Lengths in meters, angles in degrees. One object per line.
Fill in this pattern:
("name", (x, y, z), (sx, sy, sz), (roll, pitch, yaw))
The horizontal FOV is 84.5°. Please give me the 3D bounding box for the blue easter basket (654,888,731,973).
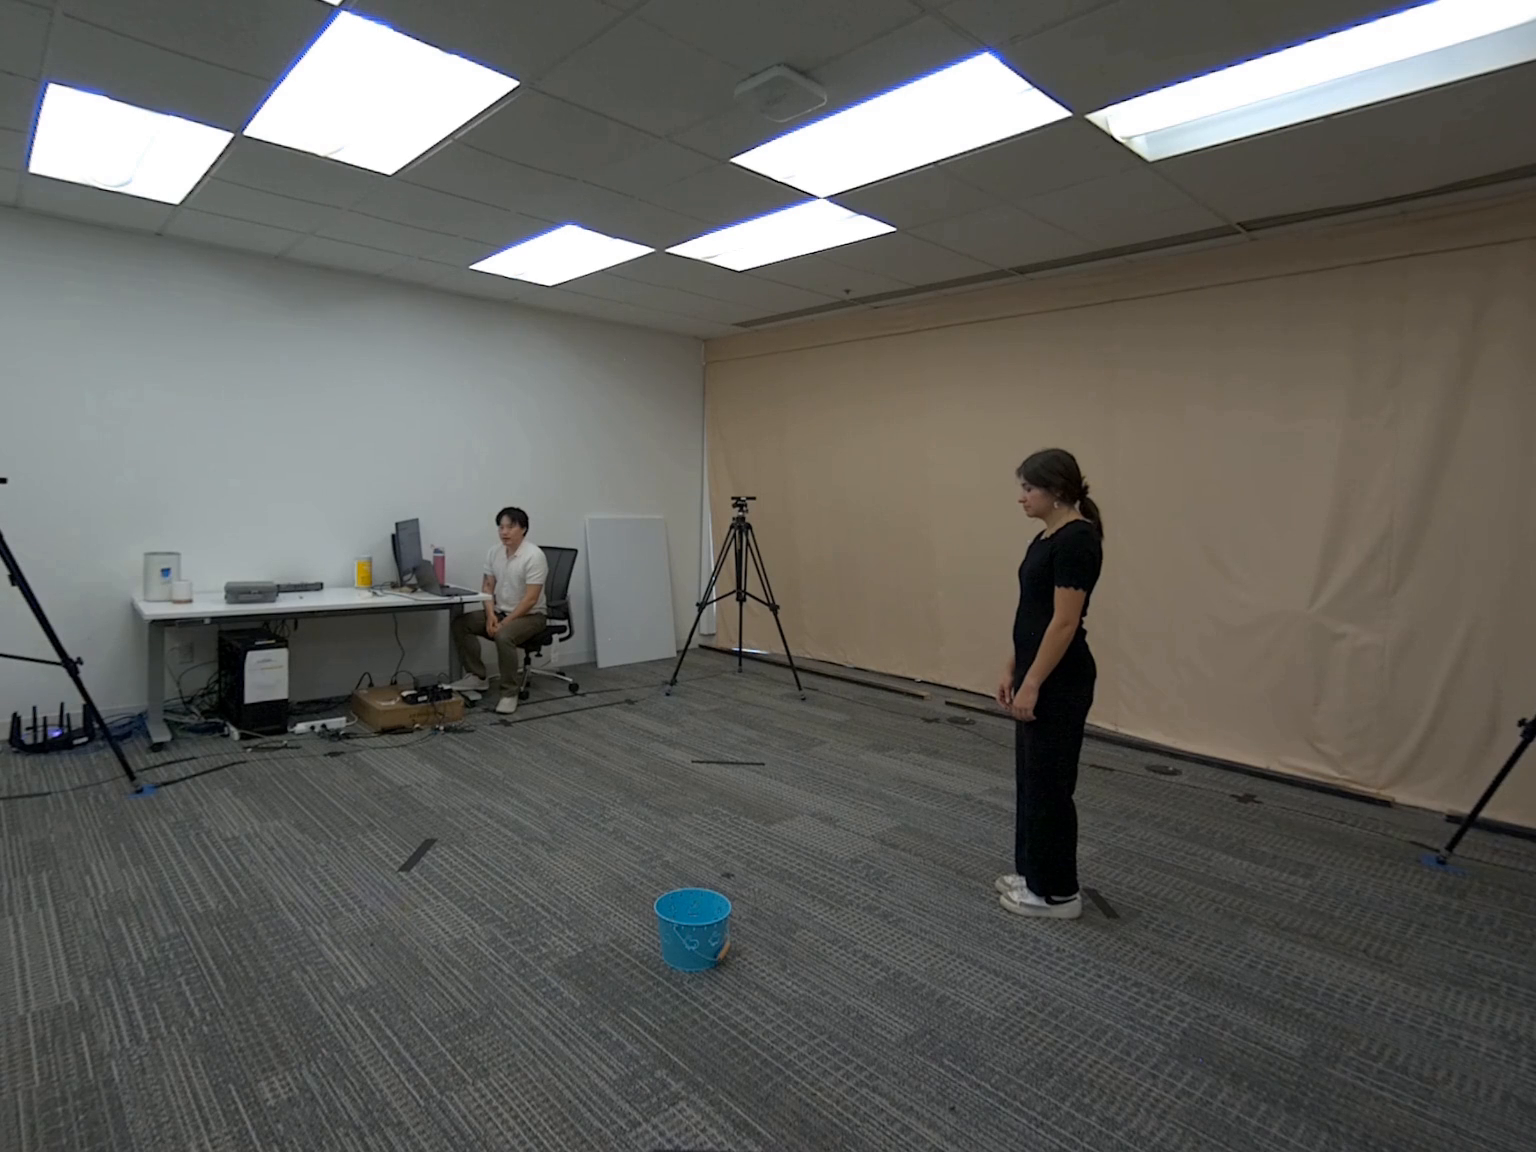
("blue easter basket", (-0.236, 1.077, 2.547), (0.243, 0.155, 0.244), (1, 5, -1))
